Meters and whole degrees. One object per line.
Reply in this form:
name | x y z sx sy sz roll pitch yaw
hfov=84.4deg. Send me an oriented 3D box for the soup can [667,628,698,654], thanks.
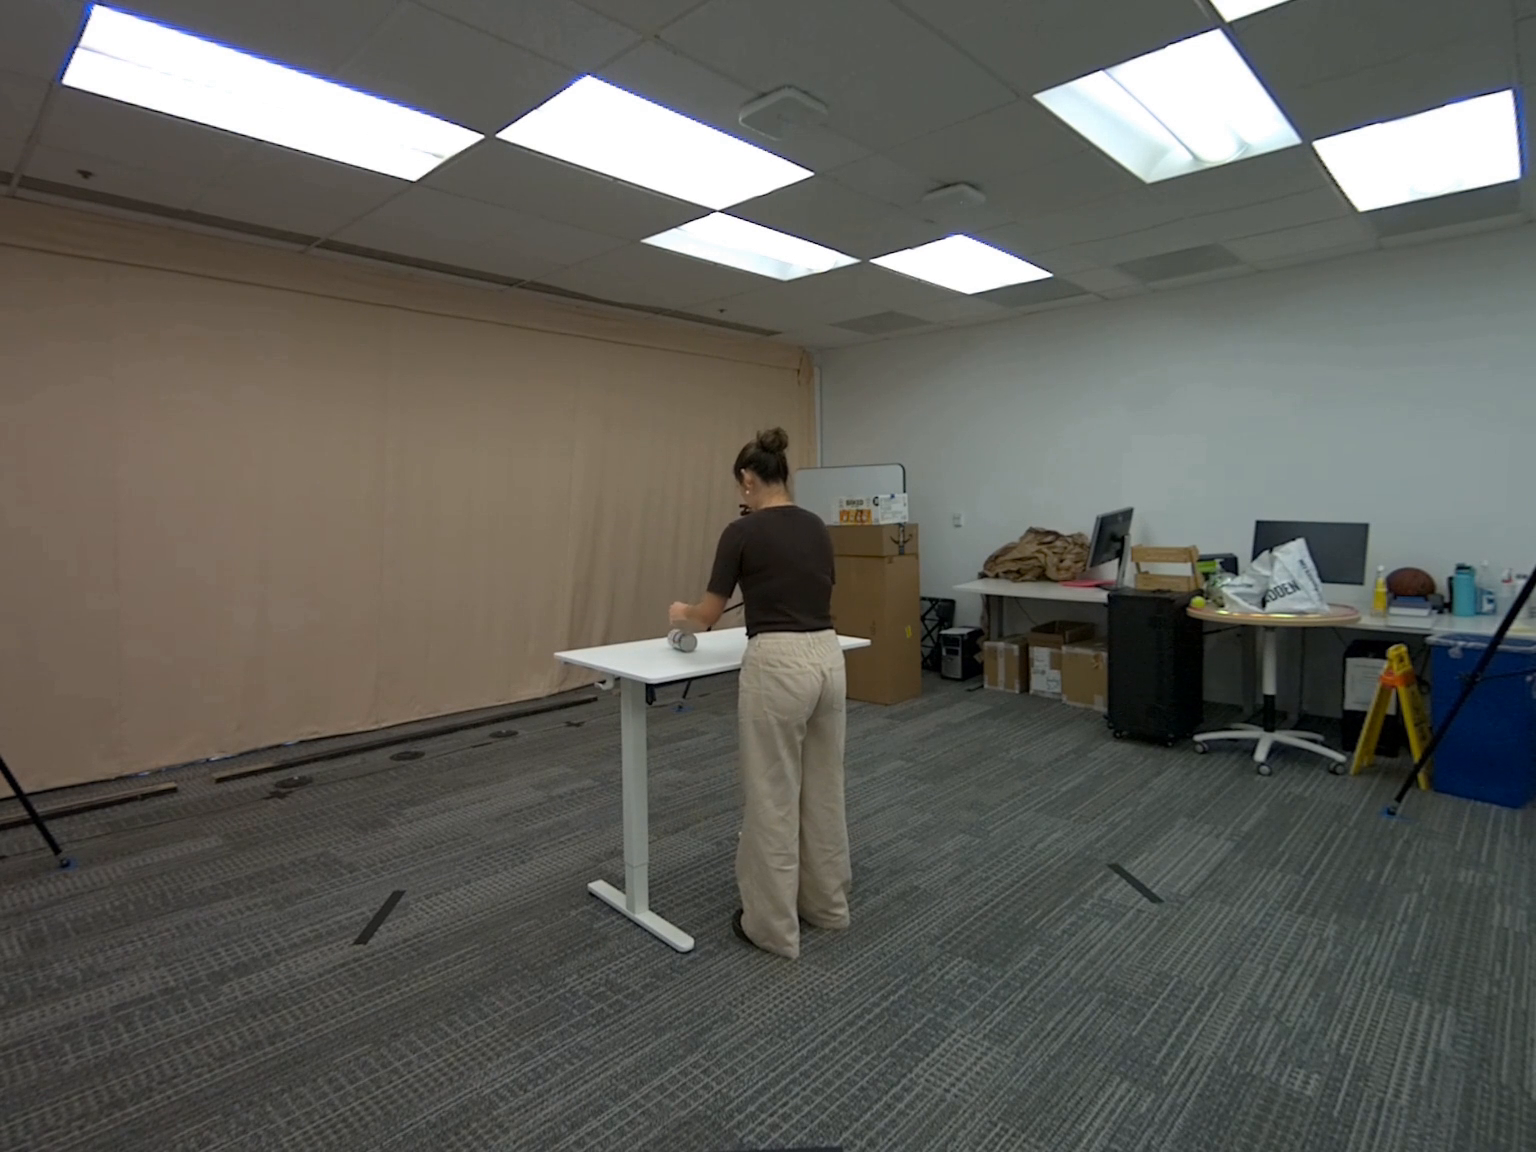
soup can | -0.301 0.229 2.975 0.066 0.067 0.124 -2 4 -23
